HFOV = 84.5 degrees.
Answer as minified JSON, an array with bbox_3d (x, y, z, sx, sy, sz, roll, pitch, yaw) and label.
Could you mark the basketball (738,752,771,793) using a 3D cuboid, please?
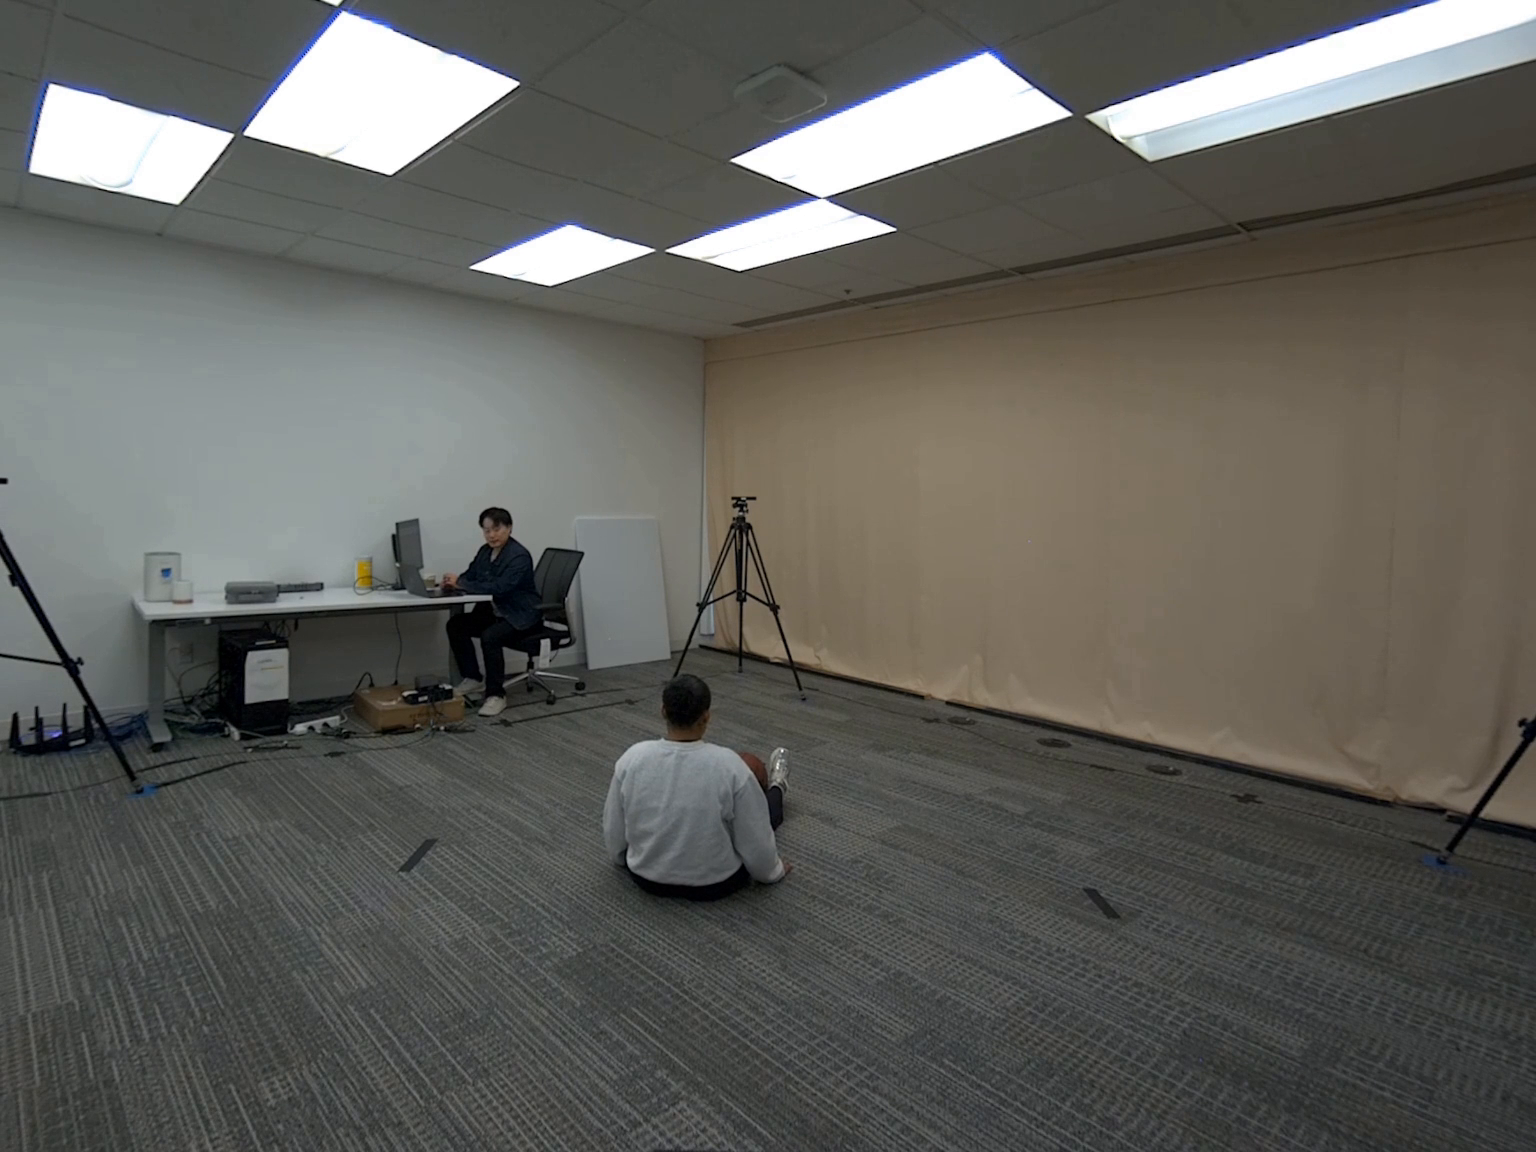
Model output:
[{"bbox_3d":[-0.130,0.930,3.837,0.236,0.235,0.237,1,4,-1],"label":"basketball"}]
